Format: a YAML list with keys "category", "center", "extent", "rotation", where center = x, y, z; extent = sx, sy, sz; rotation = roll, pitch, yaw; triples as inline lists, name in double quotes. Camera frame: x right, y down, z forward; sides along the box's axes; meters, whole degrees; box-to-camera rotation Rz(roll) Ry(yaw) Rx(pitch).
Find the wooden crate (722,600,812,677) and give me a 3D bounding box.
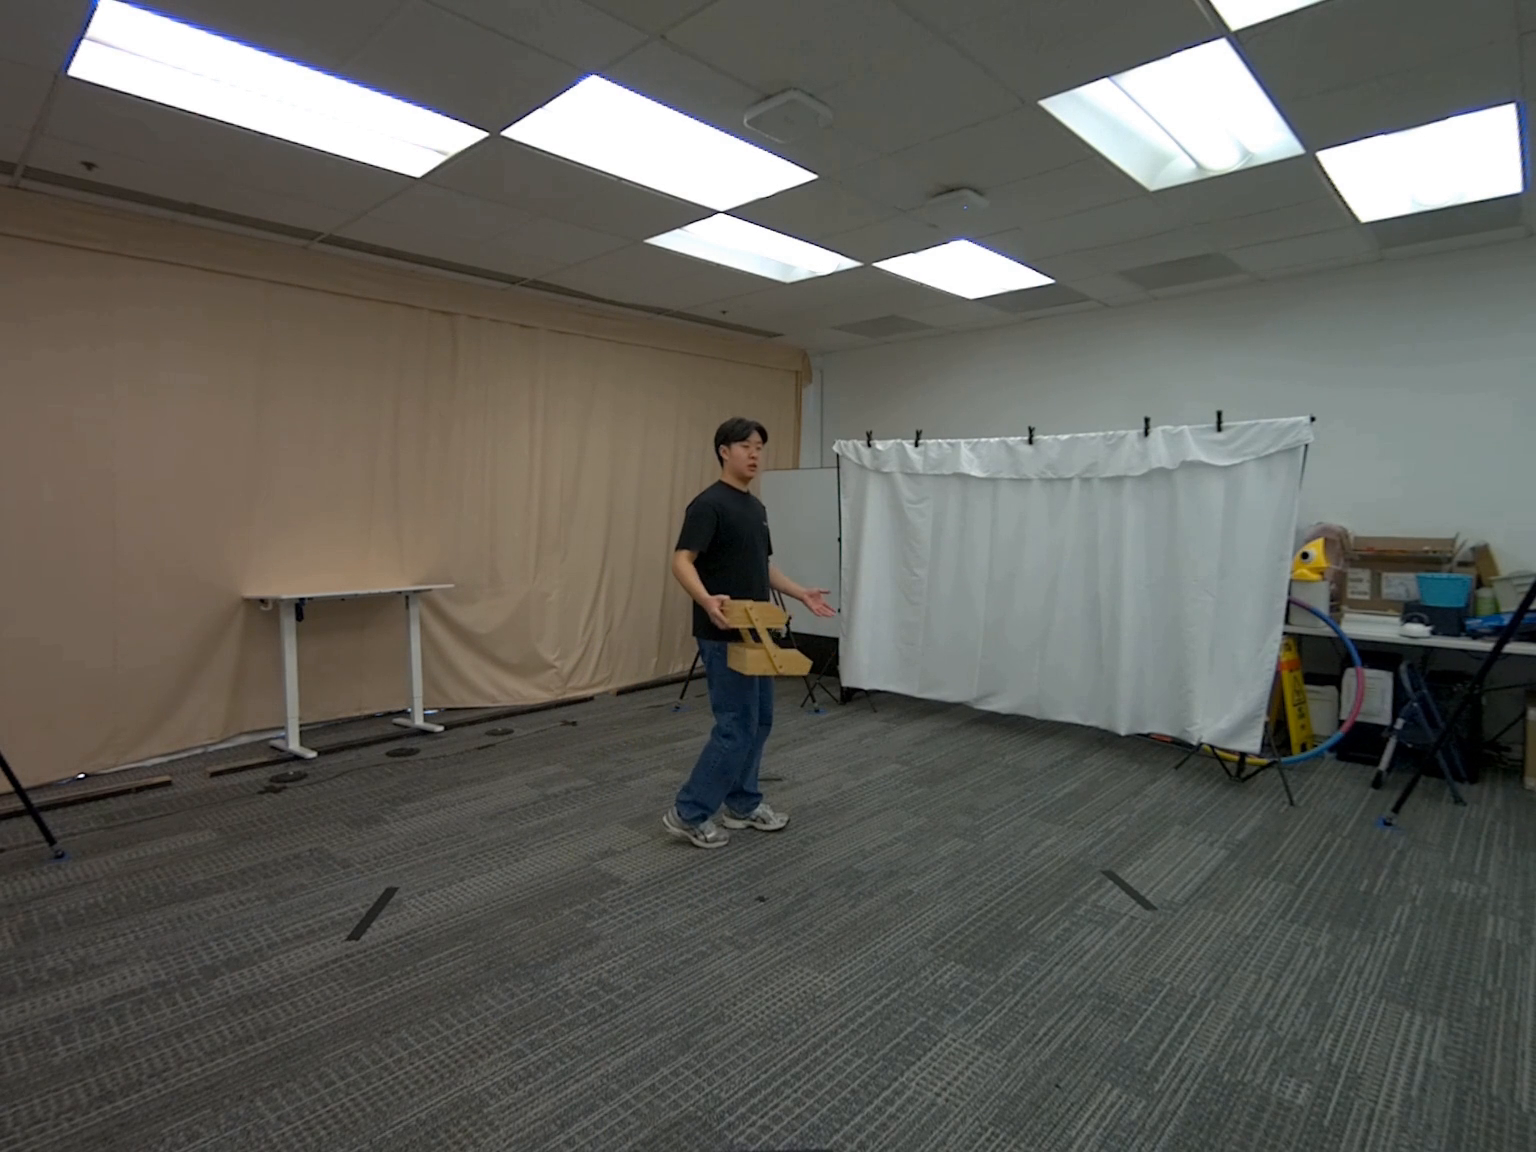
- category: "wooden crate"
  center: [-0.005, 0.224, 3.184]
  extent: [0.297, 0.274, 0.329]
  rotation: [0, -1, -16]
